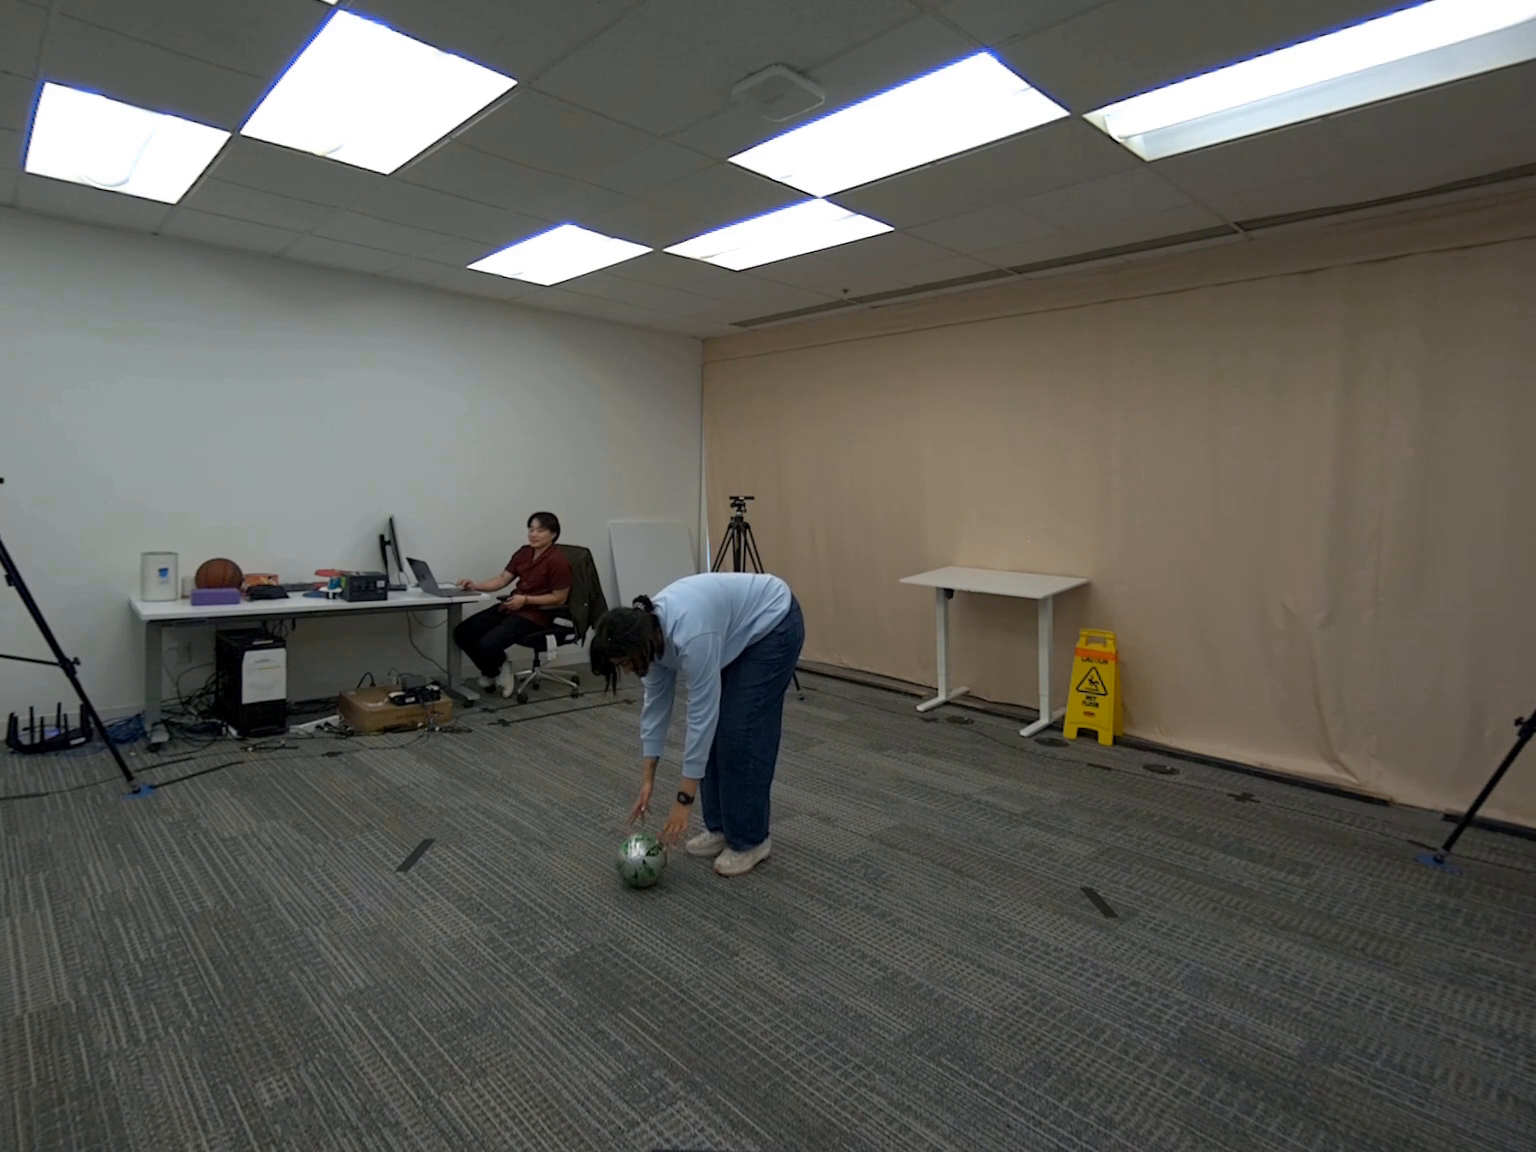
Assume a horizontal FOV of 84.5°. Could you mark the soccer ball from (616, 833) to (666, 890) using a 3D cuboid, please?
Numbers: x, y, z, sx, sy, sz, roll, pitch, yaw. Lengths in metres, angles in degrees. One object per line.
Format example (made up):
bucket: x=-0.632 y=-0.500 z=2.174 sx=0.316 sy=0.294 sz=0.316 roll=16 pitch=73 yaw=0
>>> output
soccer ball: x=-0.457 y=1.011 z=3.007 sx=0.187 sy=0.187 sz=0.188 roll=1 pitch=4 yaw=-1
